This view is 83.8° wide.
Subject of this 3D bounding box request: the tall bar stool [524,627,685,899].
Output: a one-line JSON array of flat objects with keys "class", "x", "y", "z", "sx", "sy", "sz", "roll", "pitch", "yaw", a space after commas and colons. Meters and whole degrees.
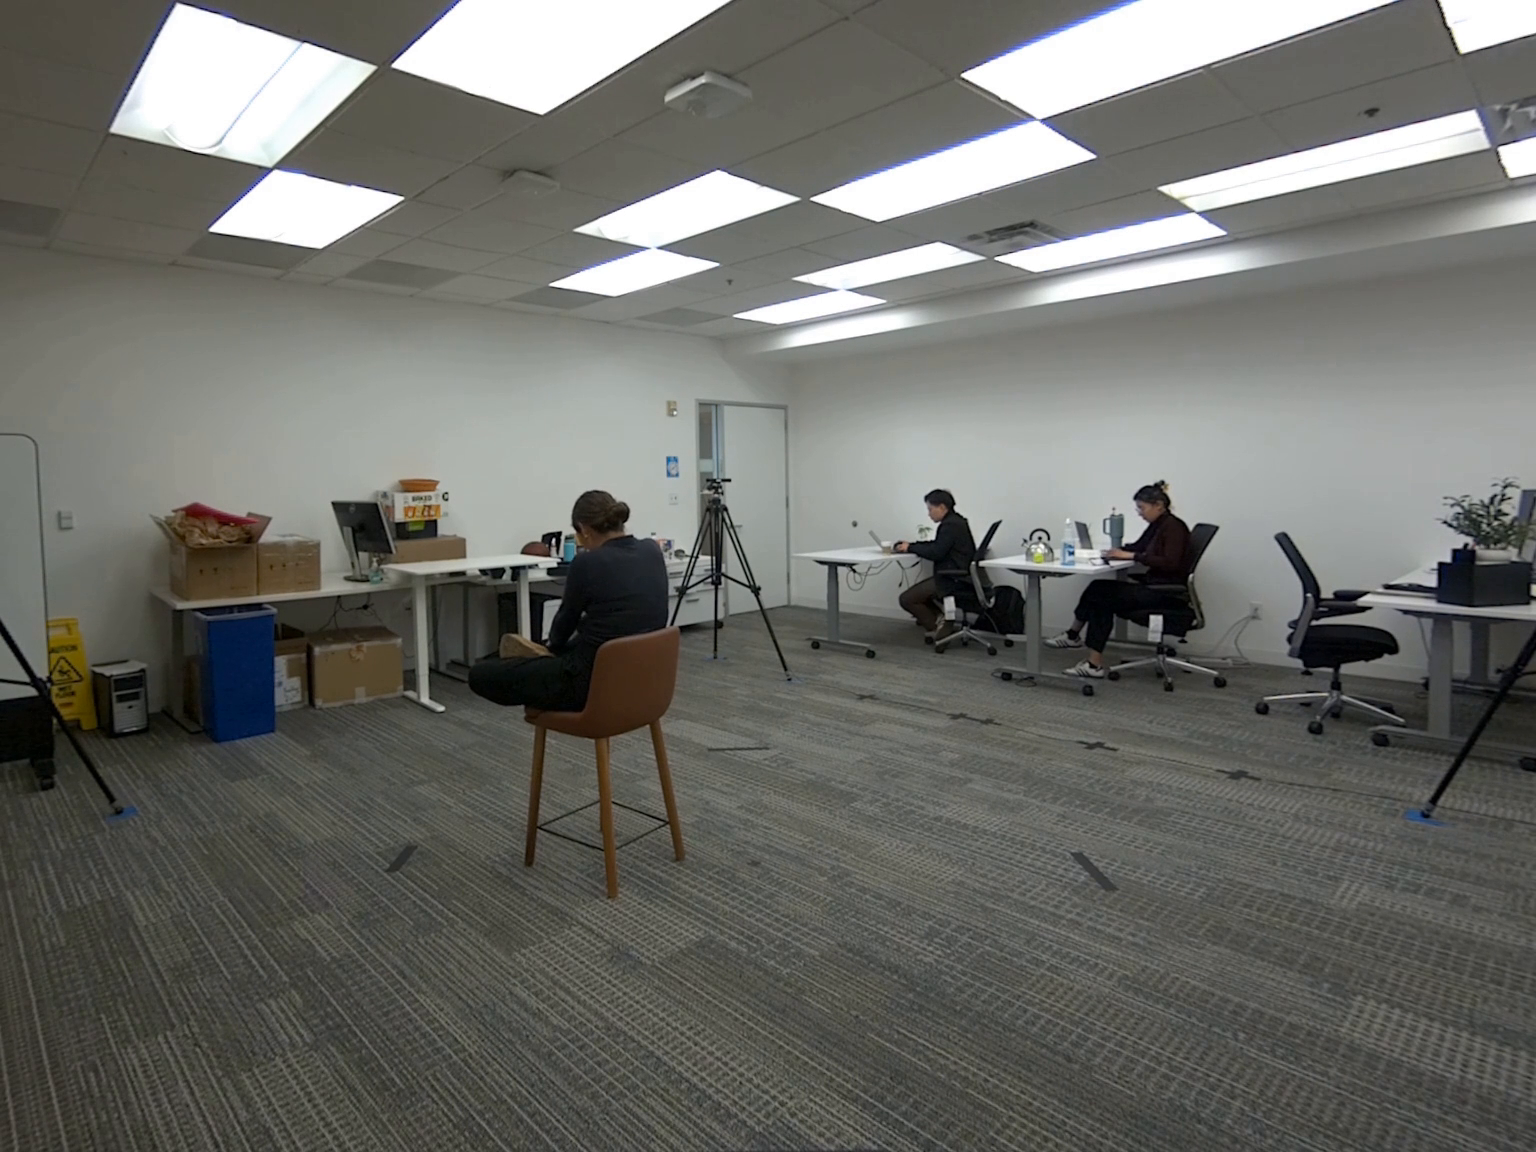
[{"class": "tall bar stool", "x": -0.594, "y": 0.620, "z": 3.110, "sx": 0.482, "sy": 0.885, "sz": 0.445, "roll": 5, "pitch": 7, "yaw": 37}]
